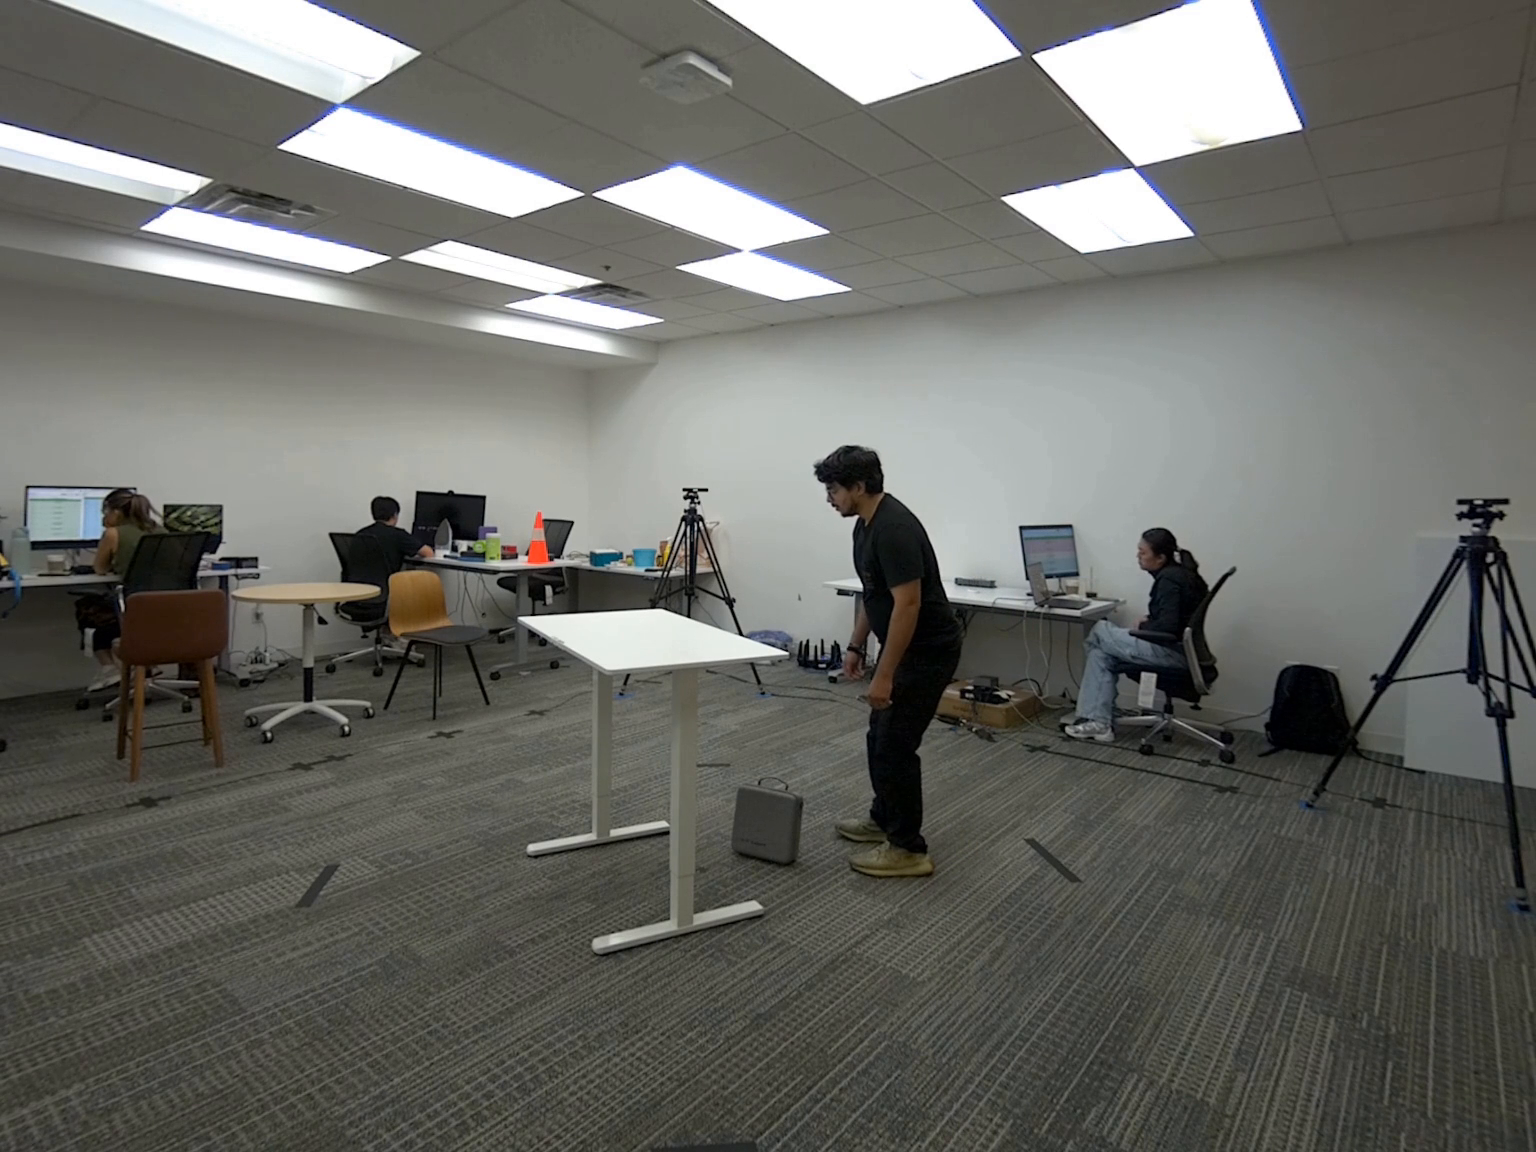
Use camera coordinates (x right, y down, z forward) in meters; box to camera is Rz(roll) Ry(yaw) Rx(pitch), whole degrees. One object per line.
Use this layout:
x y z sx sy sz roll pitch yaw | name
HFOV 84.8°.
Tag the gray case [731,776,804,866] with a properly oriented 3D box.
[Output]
-0.014 0.931 3.239 0.264 0.262 0.101 2 -6 27 | gray case
